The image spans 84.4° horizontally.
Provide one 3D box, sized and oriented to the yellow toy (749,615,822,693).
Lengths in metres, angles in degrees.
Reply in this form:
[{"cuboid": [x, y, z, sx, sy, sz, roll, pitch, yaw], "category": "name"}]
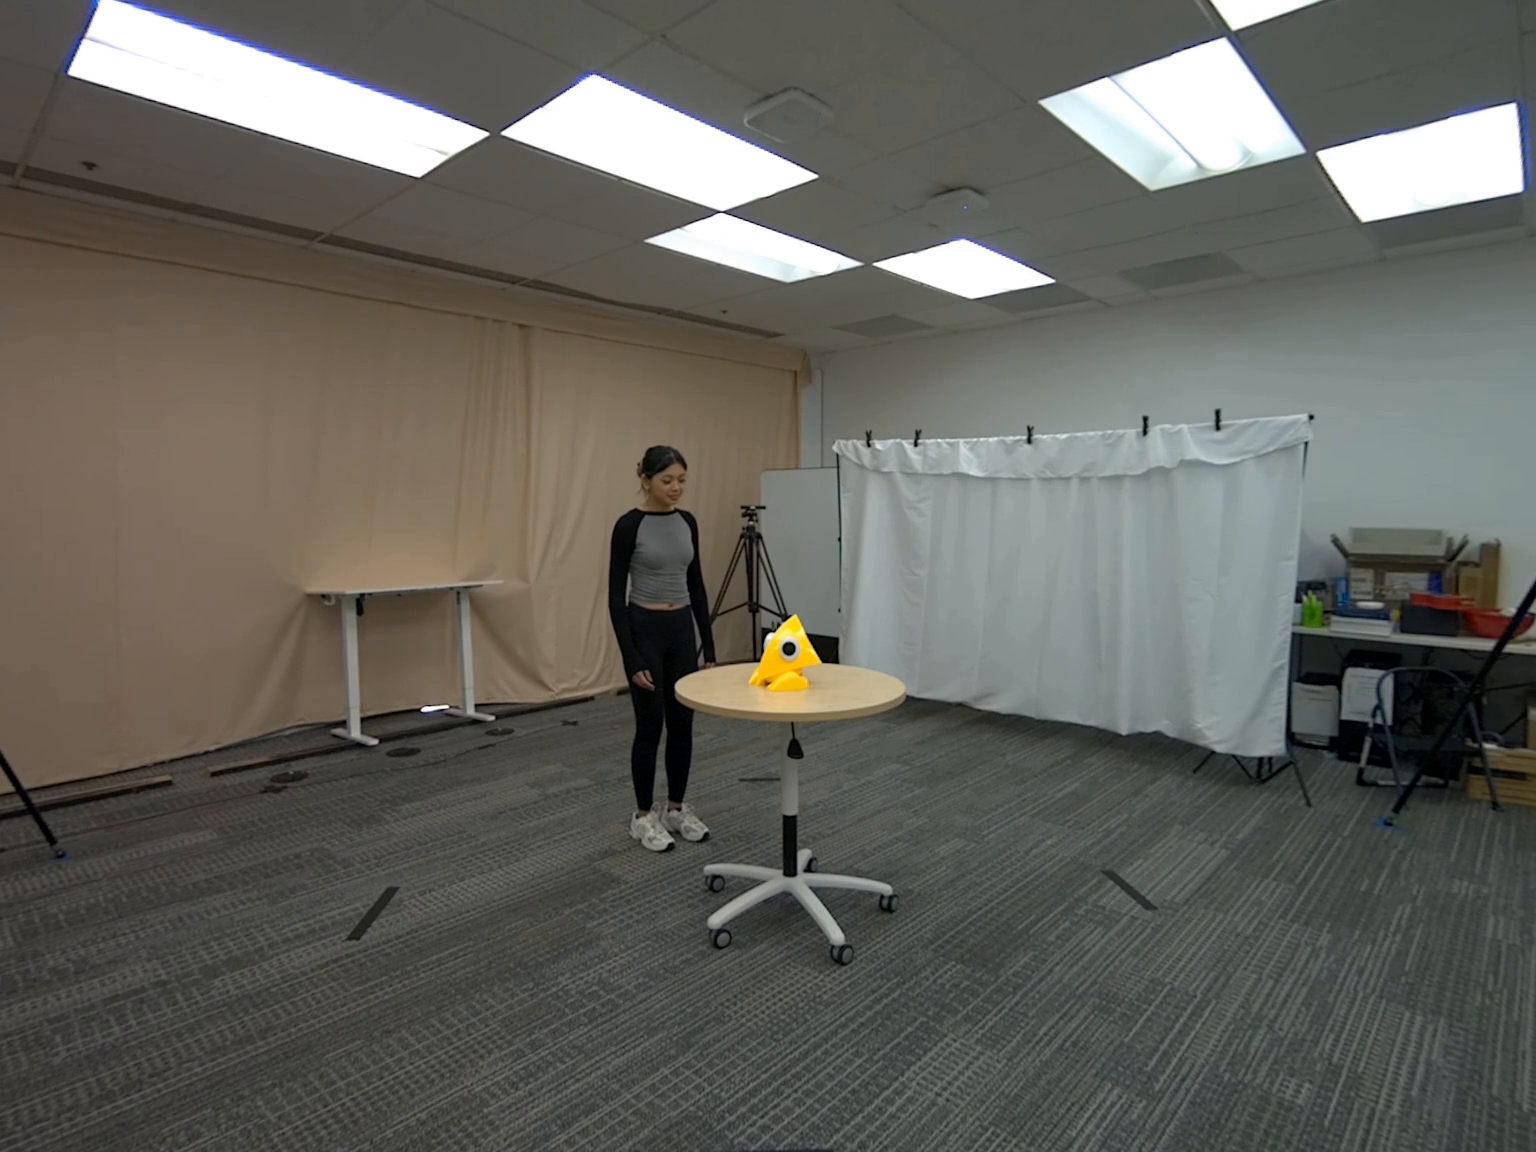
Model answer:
[{"cuboid": [0.050, 0.250, 2.816, 0.188, 0.230, 0.211, -3, 5, -32], "category": "yellow toy"}]
